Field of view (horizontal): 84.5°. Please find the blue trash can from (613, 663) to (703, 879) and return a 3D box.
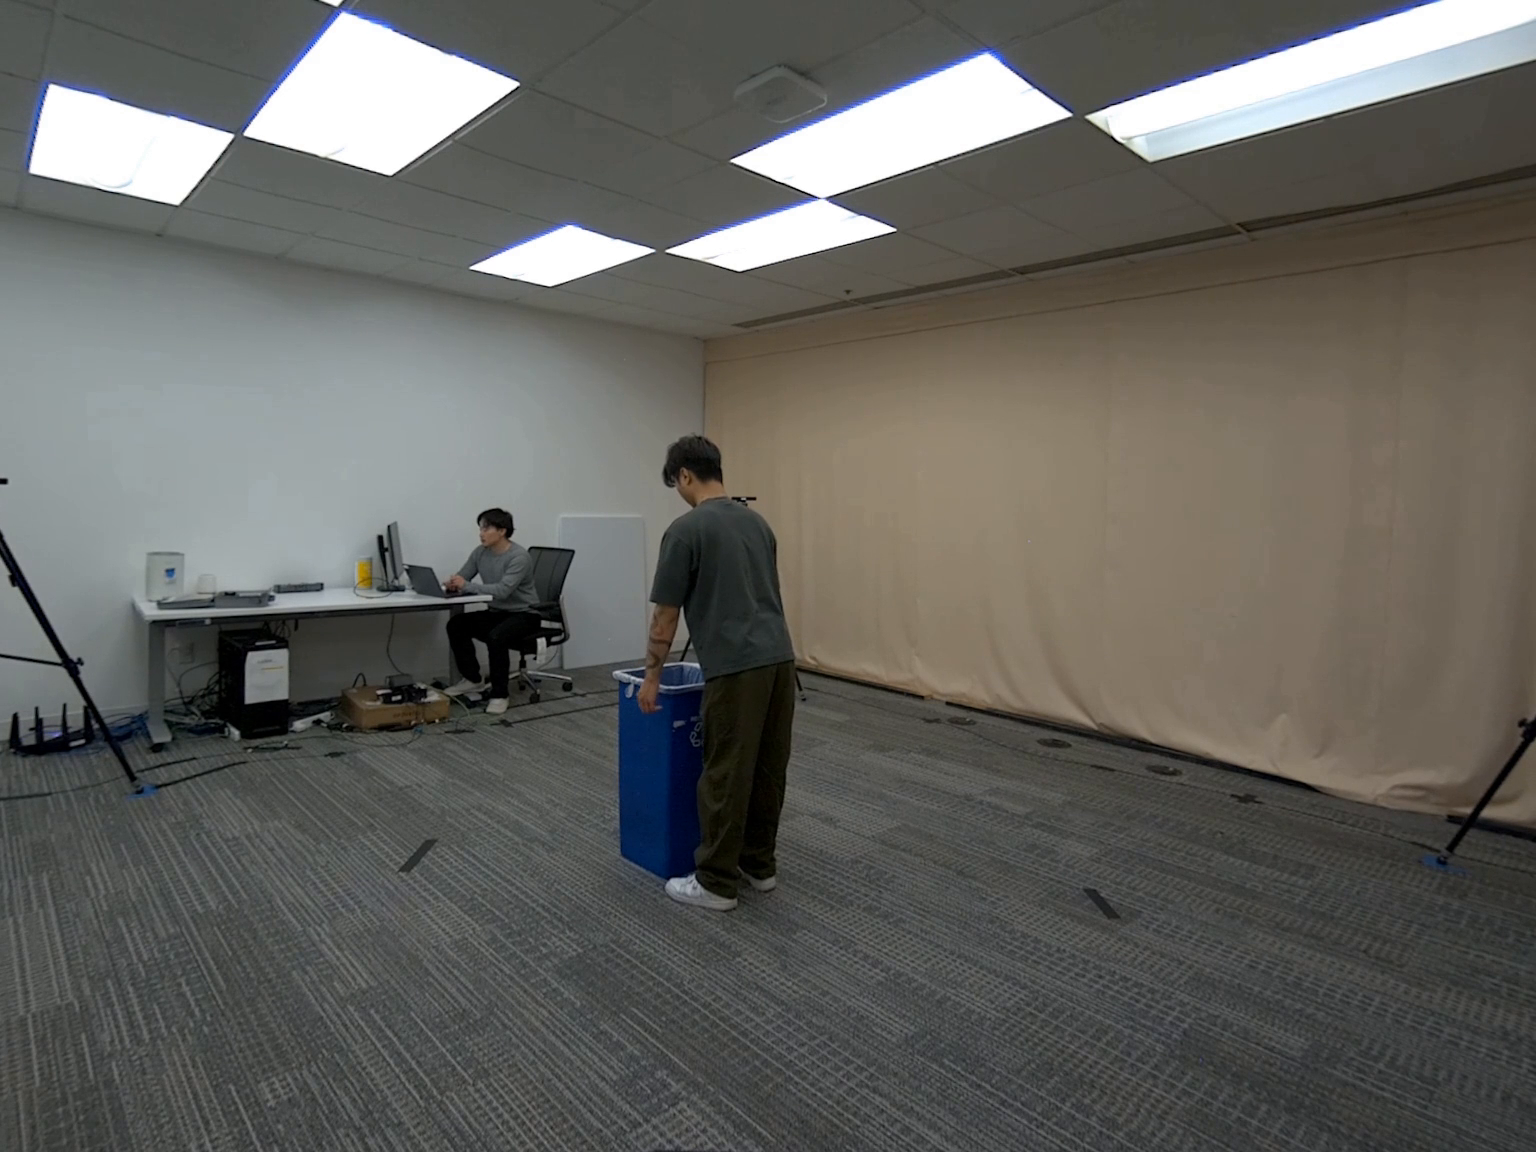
[{"bbox_3d":[-0.373,0.731,3.247,0.369,0.712,0.384,-1,5,-45],"label":"blue trash can"}]
